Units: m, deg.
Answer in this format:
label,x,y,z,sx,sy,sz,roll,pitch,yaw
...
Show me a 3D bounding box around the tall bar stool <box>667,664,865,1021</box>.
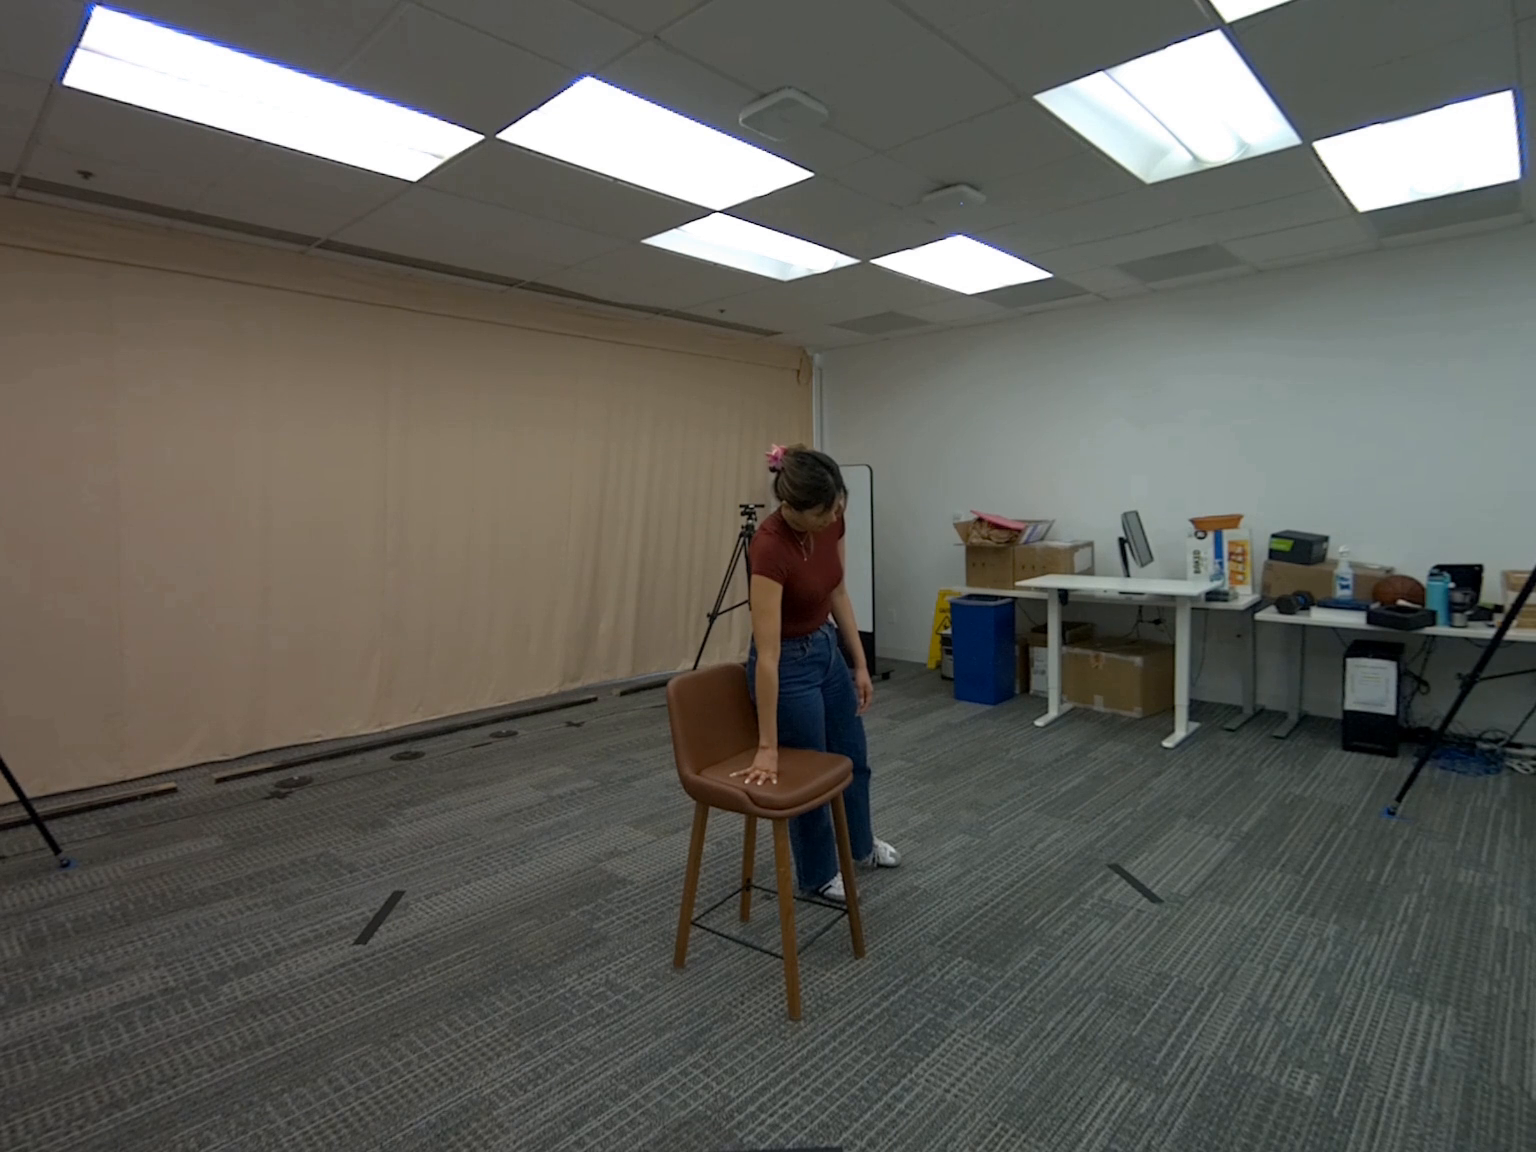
label,x,y,z,sx,sy,sz,roll,pitch,yaw
tall bar stool,-0.013,0.749,2.532,0.482,0.888,0.443,0,3,35
